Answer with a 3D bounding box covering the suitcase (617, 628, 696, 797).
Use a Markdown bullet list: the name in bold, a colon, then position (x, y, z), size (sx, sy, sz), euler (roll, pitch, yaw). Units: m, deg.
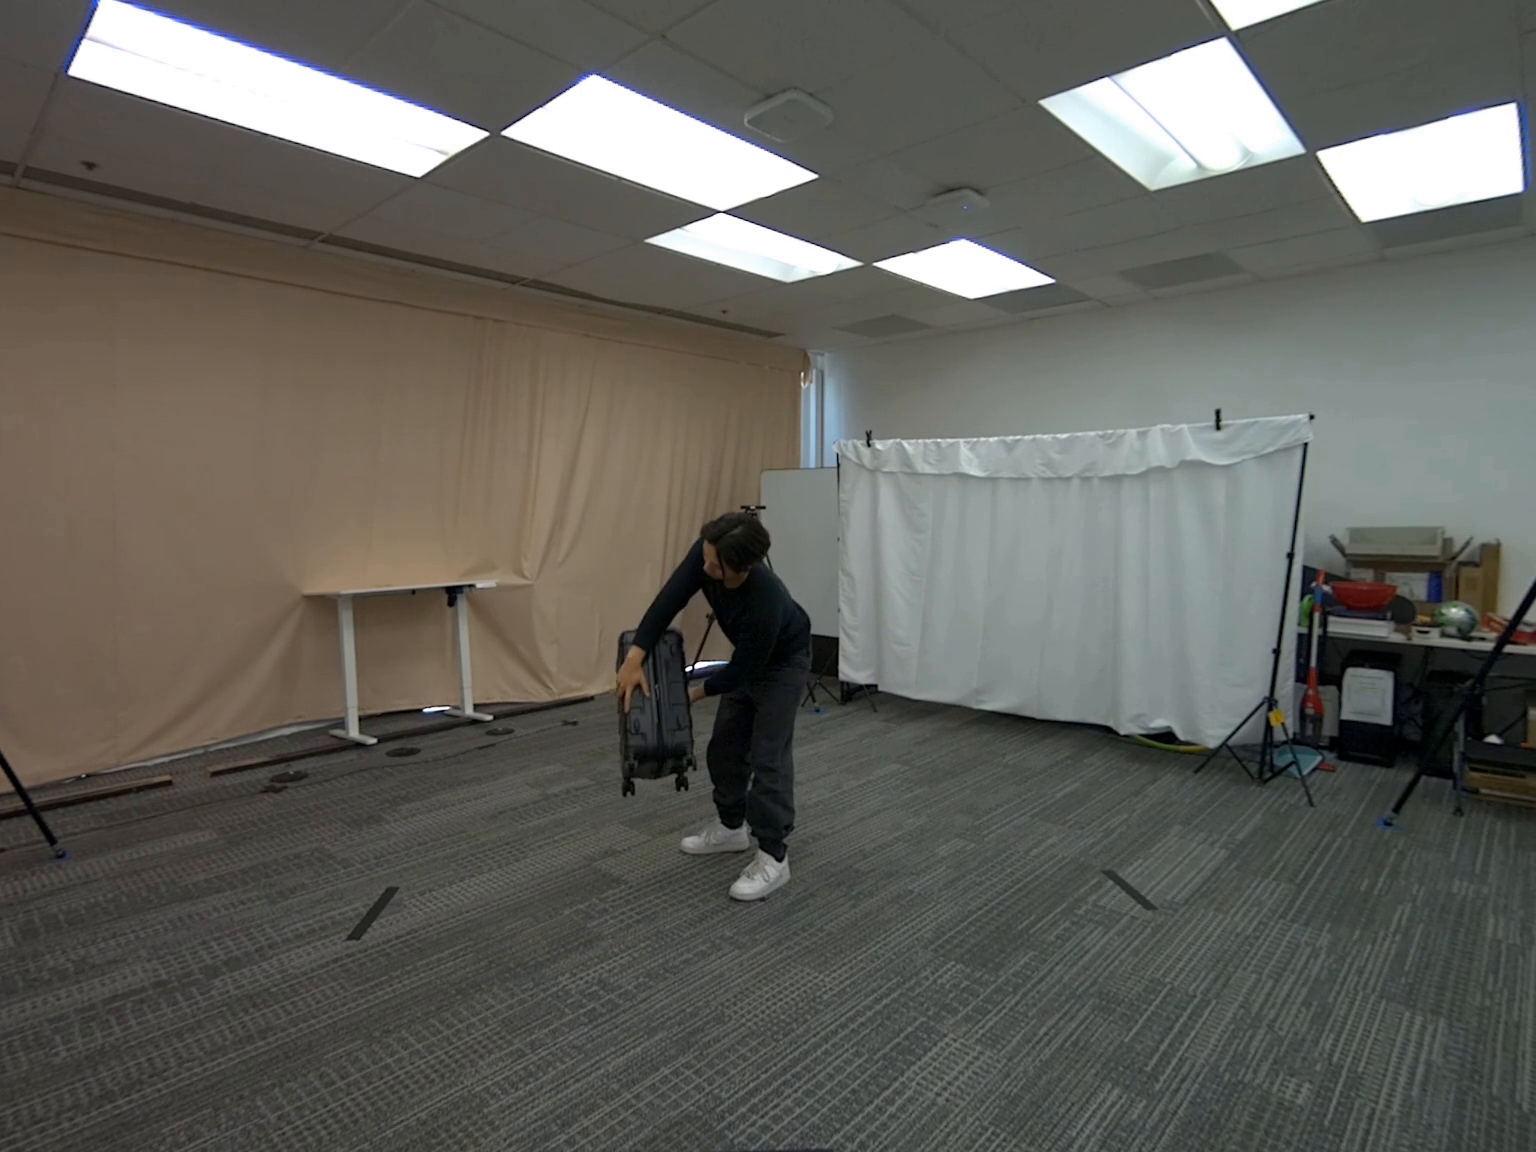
- **suitcase**: position (-0.422, 0.482, 3.096), size (0.246, 0.560, 0.372), euler (-3, -28, -11)
